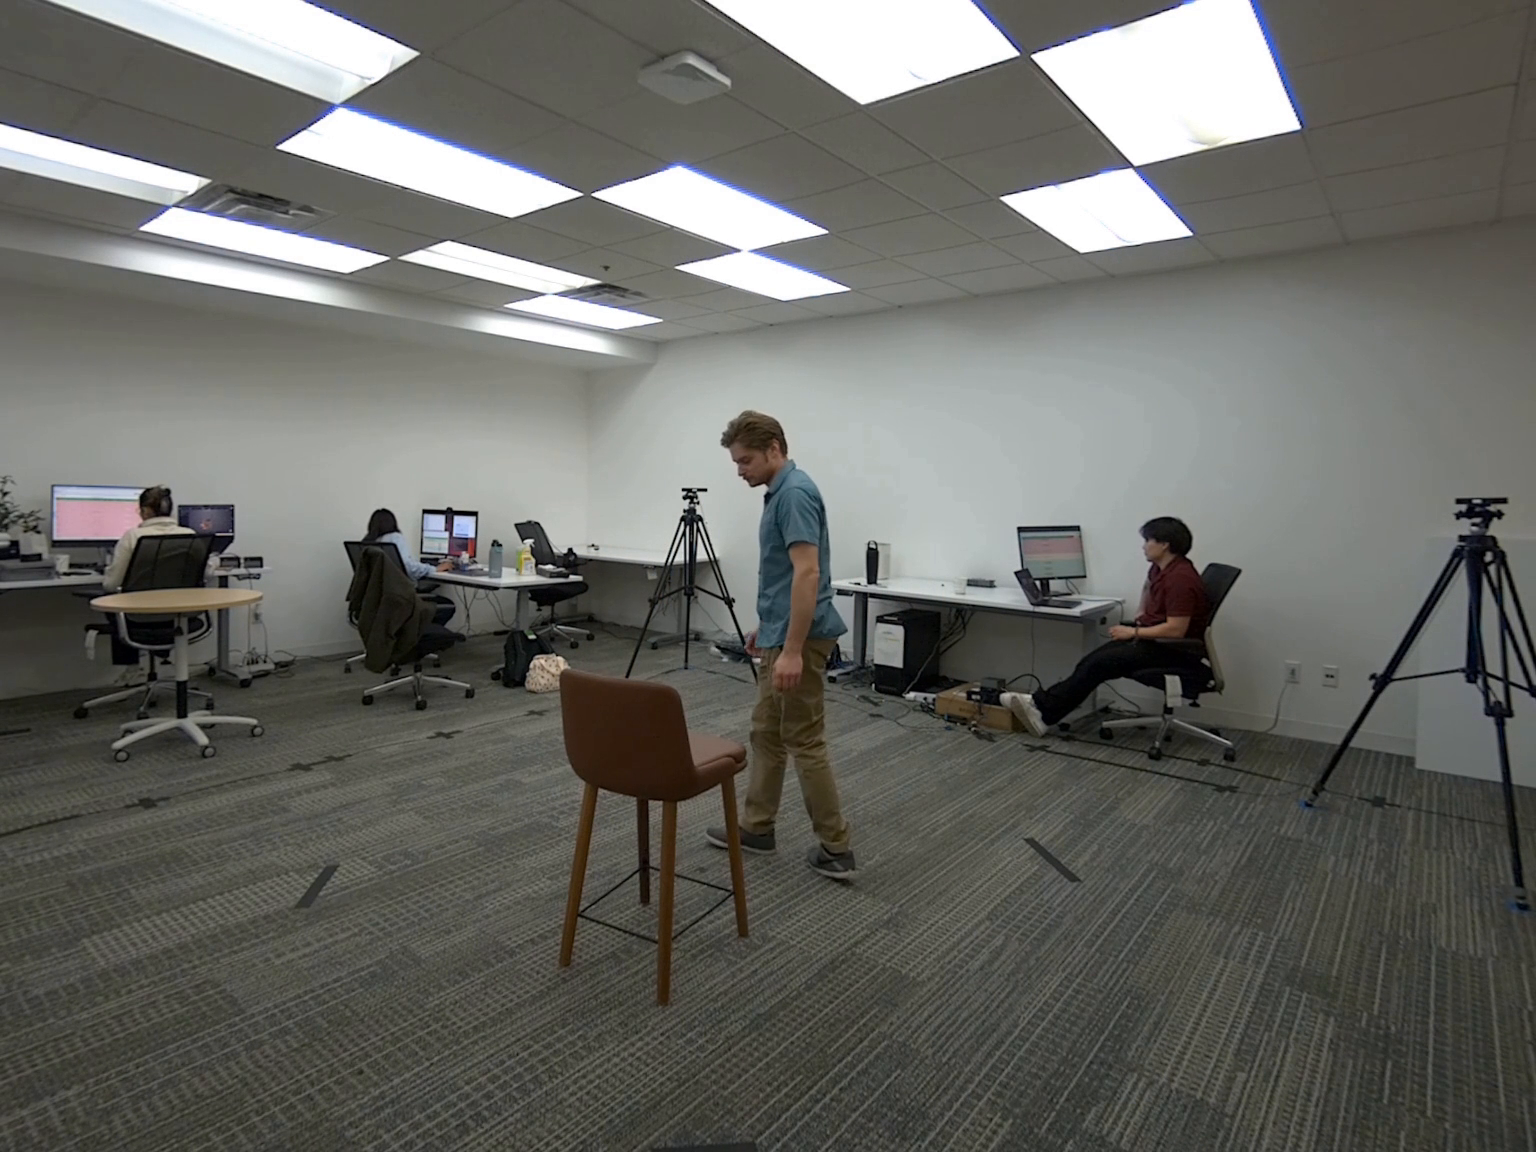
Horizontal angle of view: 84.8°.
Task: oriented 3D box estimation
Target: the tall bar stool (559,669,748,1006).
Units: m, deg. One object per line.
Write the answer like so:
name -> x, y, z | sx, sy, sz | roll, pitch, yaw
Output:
tall bar stool -> -0.349, 0.688, 2.541 | 0.470, 0.886, 0.456 | 2, 5, 30
